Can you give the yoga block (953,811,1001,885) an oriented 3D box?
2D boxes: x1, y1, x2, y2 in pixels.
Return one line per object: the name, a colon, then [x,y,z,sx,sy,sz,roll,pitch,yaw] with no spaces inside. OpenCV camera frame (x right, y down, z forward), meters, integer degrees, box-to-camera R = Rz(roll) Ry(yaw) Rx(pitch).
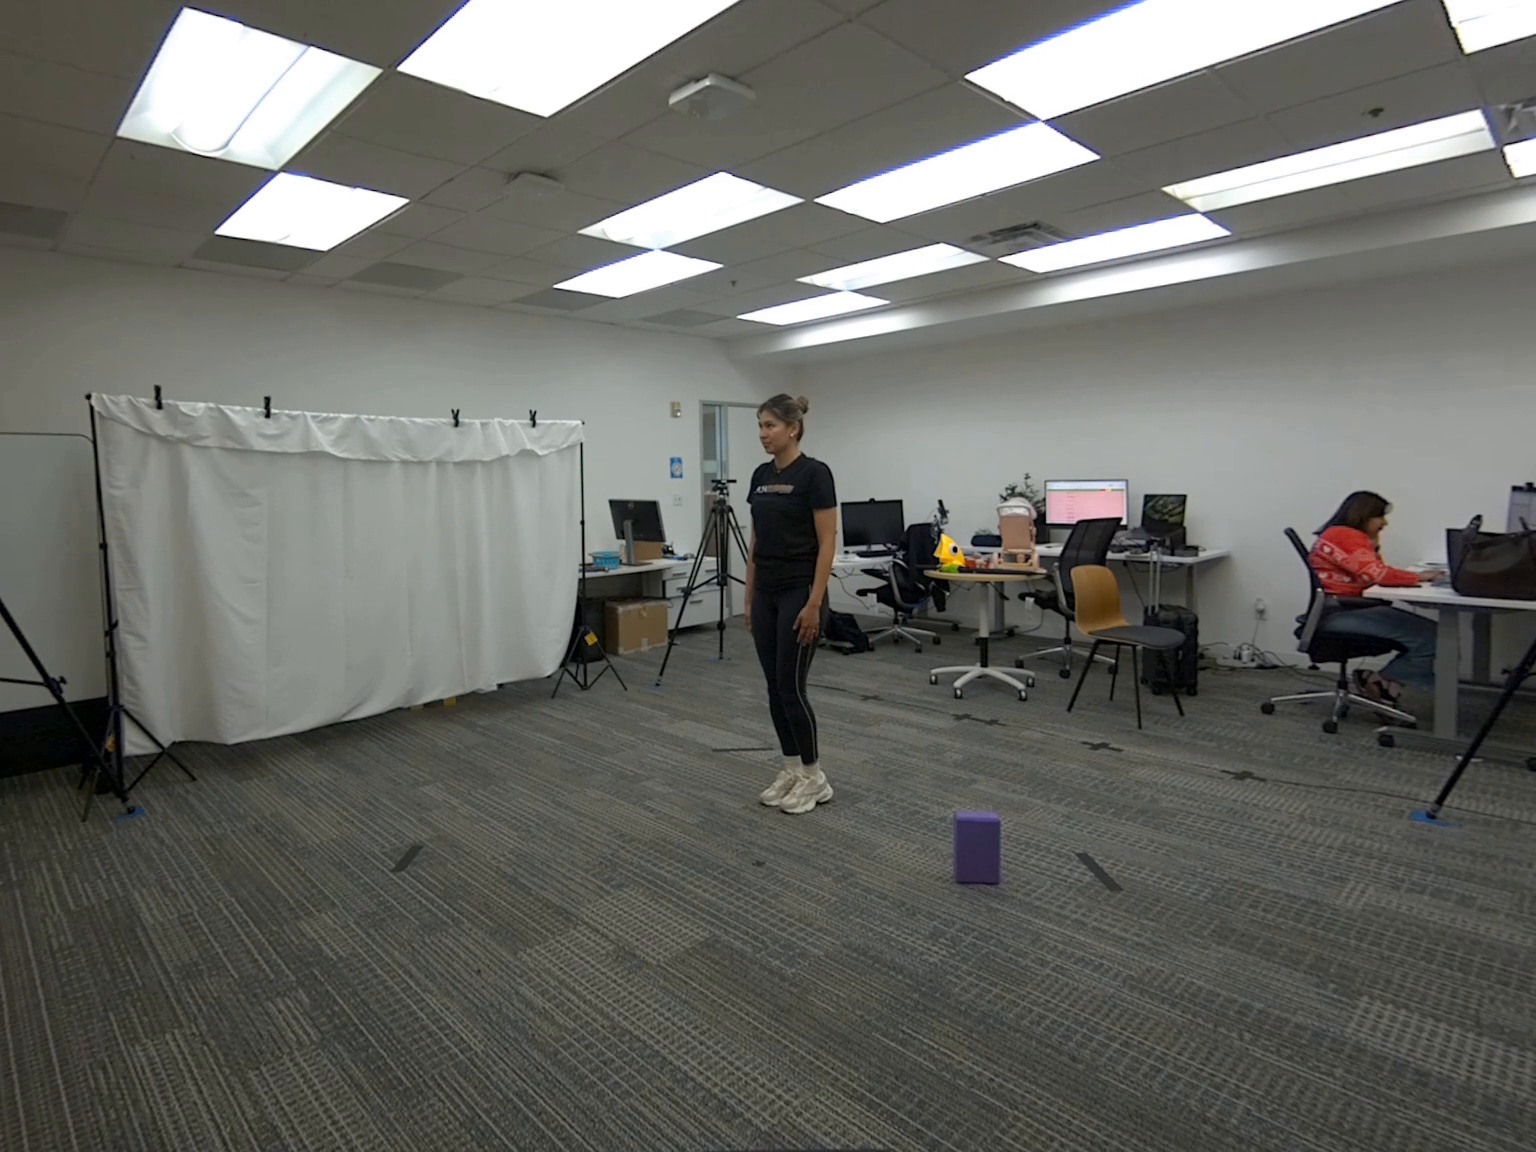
yoga block: [0.727,0.937,2.944,0.150,0.229,0.076,-1,2,6]
